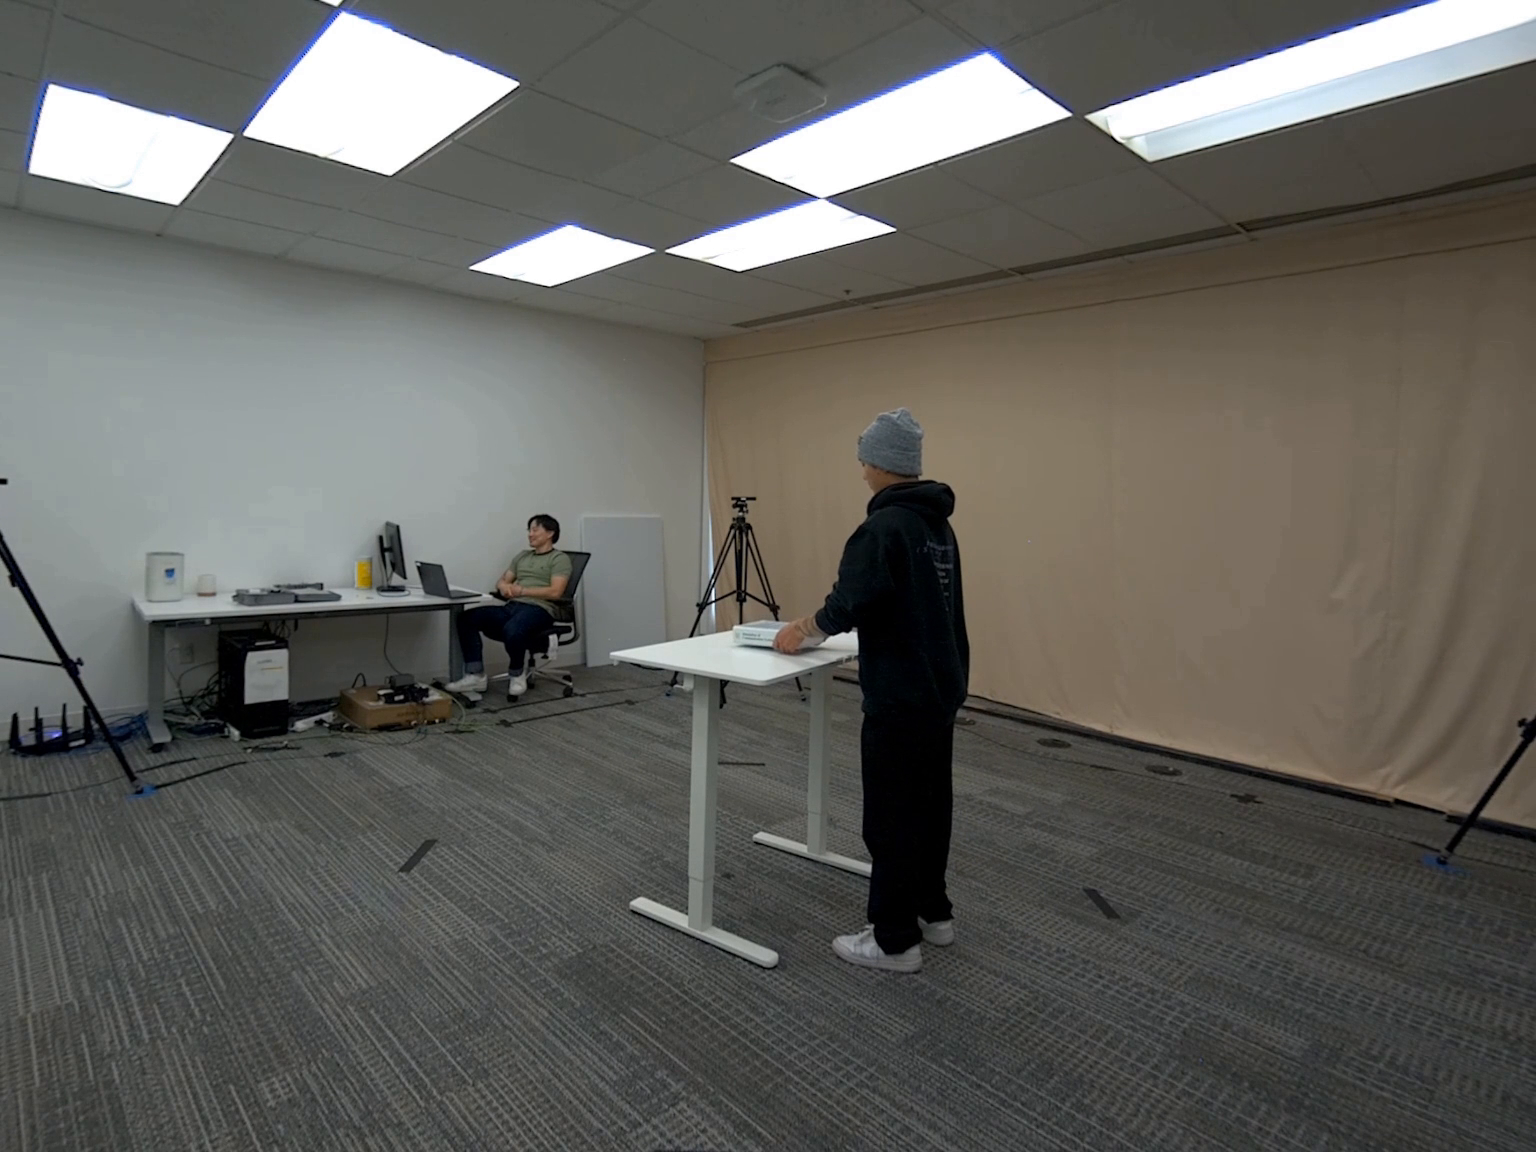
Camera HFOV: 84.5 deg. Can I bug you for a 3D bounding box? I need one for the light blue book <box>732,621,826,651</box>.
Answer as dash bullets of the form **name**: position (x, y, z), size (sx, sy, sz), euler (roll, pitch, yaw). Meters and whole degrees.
- **light blue book**: position (0.029, 0.207, 2.904), size (0.267, 0.059, 0.187), euler (4, 6, 33)
